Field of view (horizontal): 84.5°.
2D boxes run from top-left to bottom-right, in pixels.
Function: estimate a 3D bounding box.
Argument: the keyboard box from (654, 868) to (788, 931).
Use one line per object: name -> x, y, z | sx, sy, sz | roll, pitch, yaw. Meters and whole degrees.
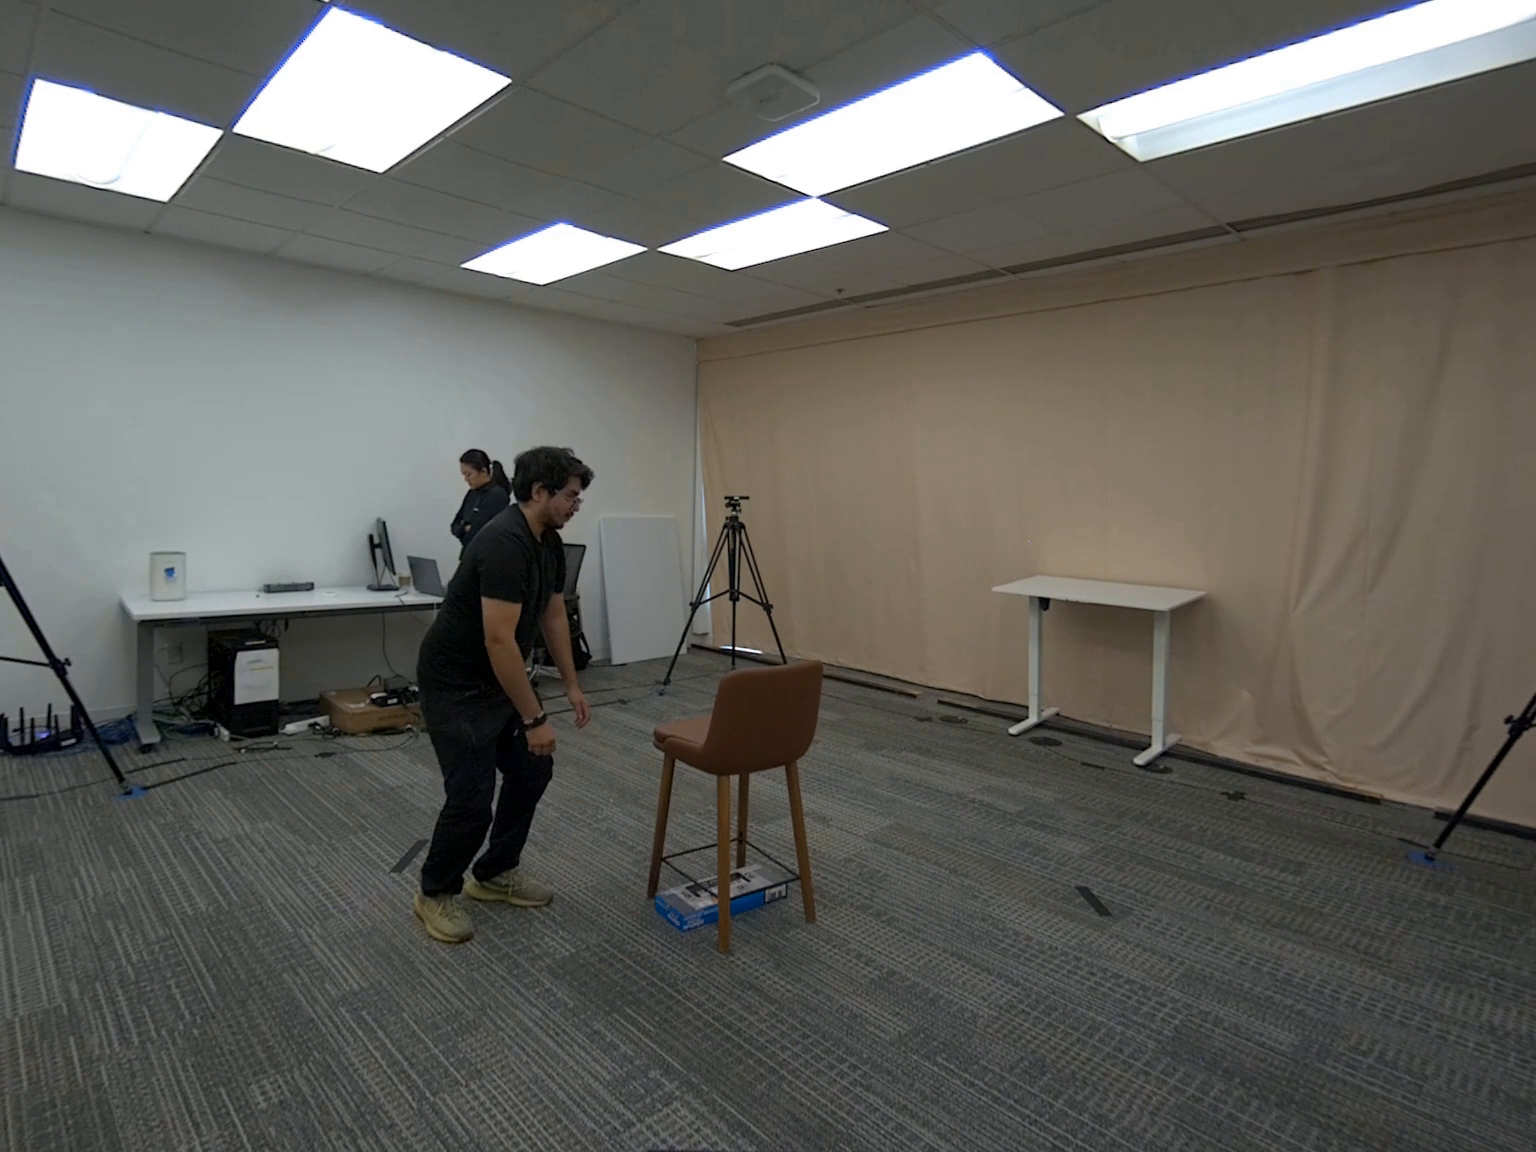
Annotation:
keyboard box -> -0.166, 1.096, 2.877 | 0.427, 0.059, 0.180 | -3, 7, -37
